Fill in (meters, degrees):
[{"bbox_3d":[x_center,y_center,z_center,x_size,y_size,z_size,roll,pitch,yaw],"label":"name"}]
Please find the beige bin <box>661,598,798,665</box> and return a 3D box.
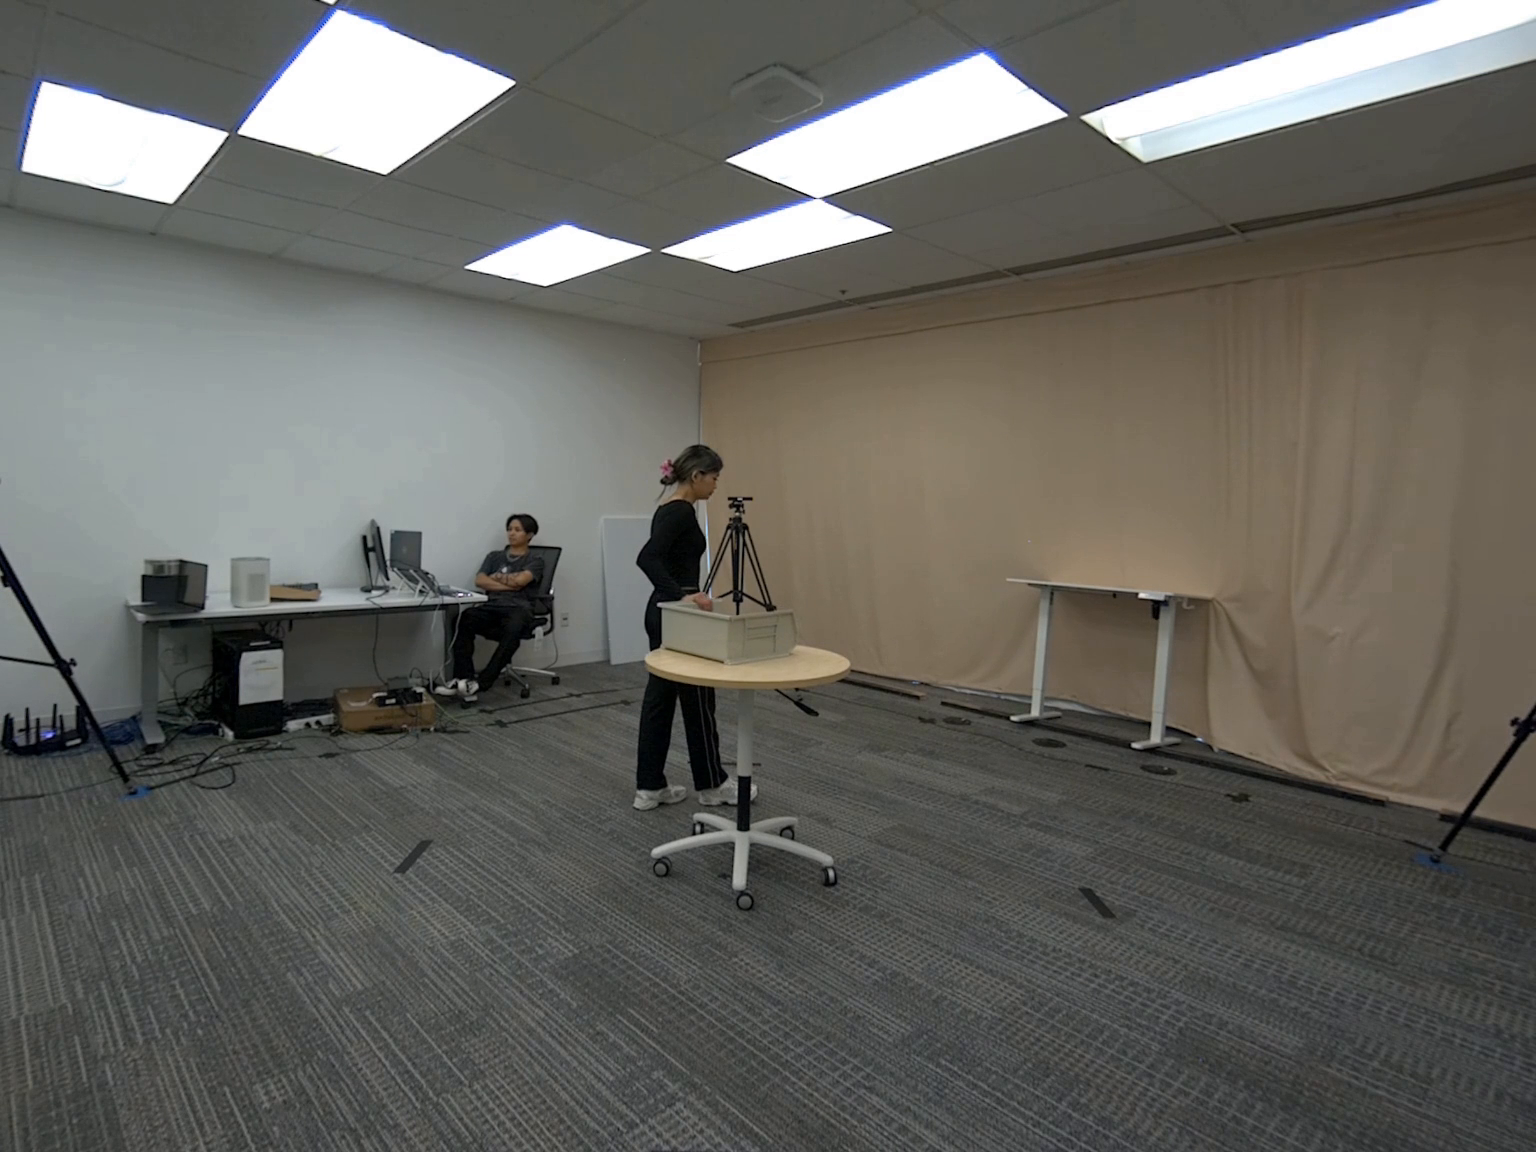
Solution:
[{"bbox_3d":[-0.162,0.206,3.287,0.369,0.188,0.433,-5,10,-44],"label":"beige bin"}]
